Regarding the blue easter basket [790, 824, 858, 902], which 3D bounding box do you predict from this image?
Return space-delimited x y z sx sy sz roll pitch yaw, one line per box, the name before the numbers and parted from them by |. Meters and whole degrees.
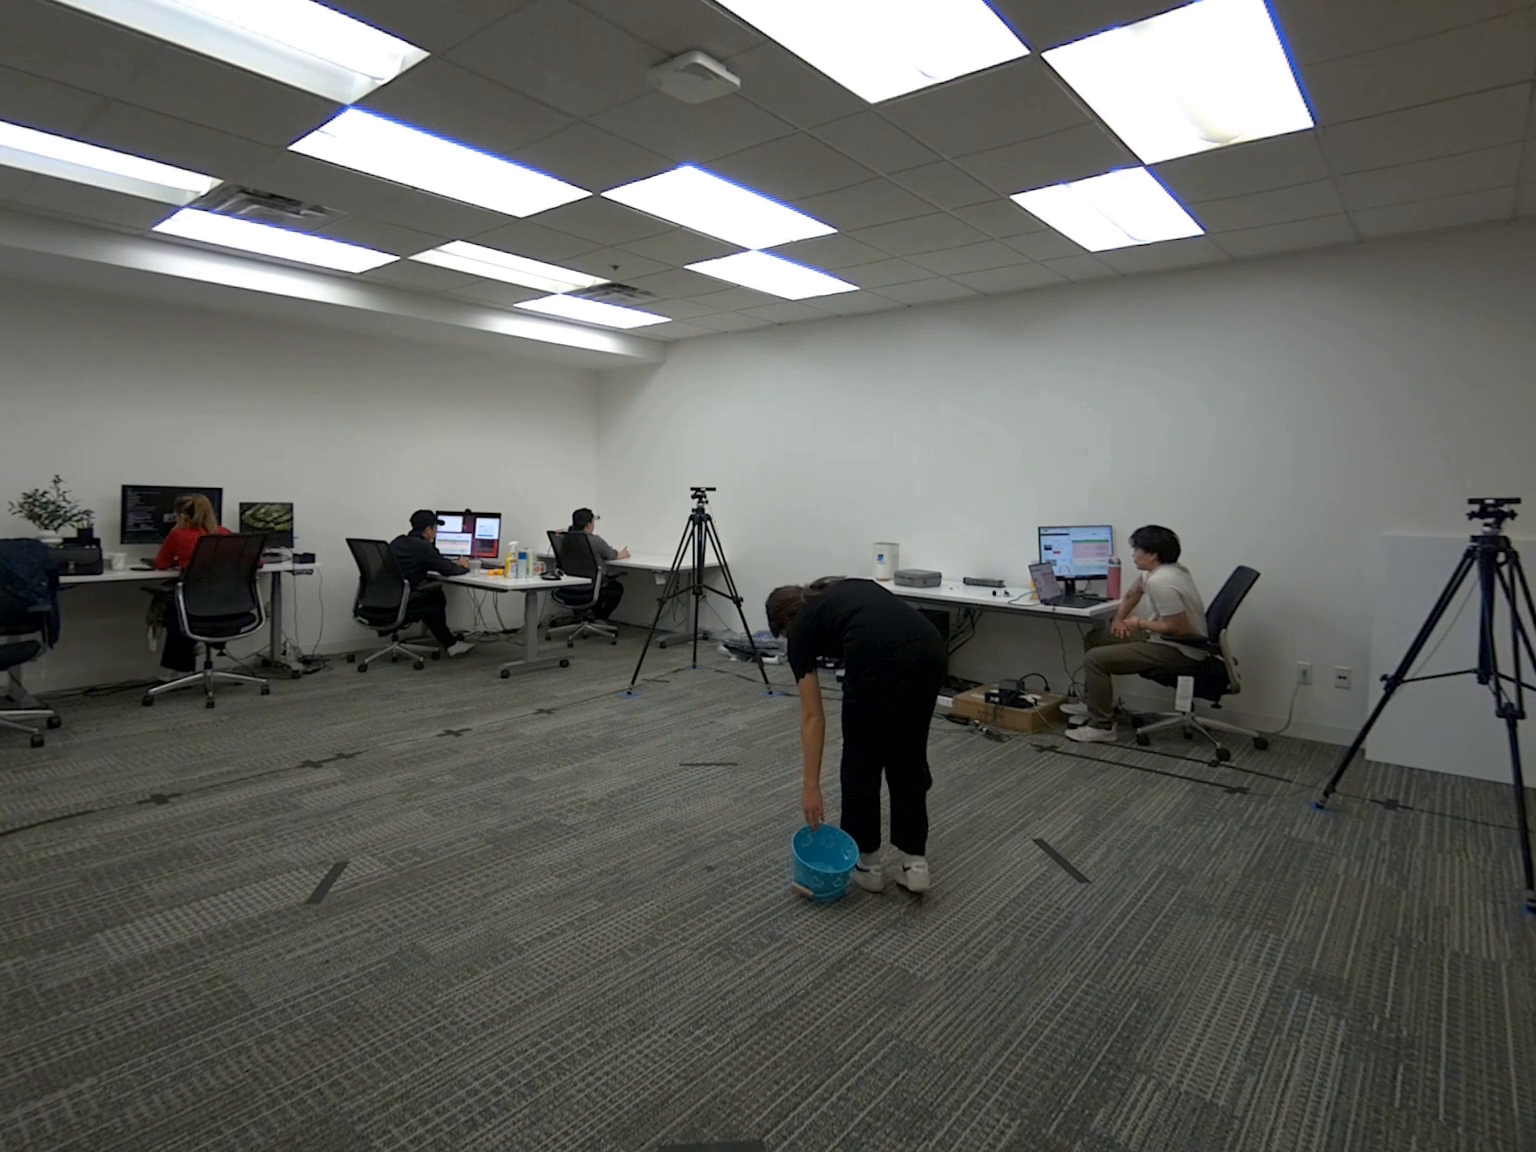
blue easter basket | 0.183 0.990 2.925 0.243 0.153 0.249 5 23 -4
